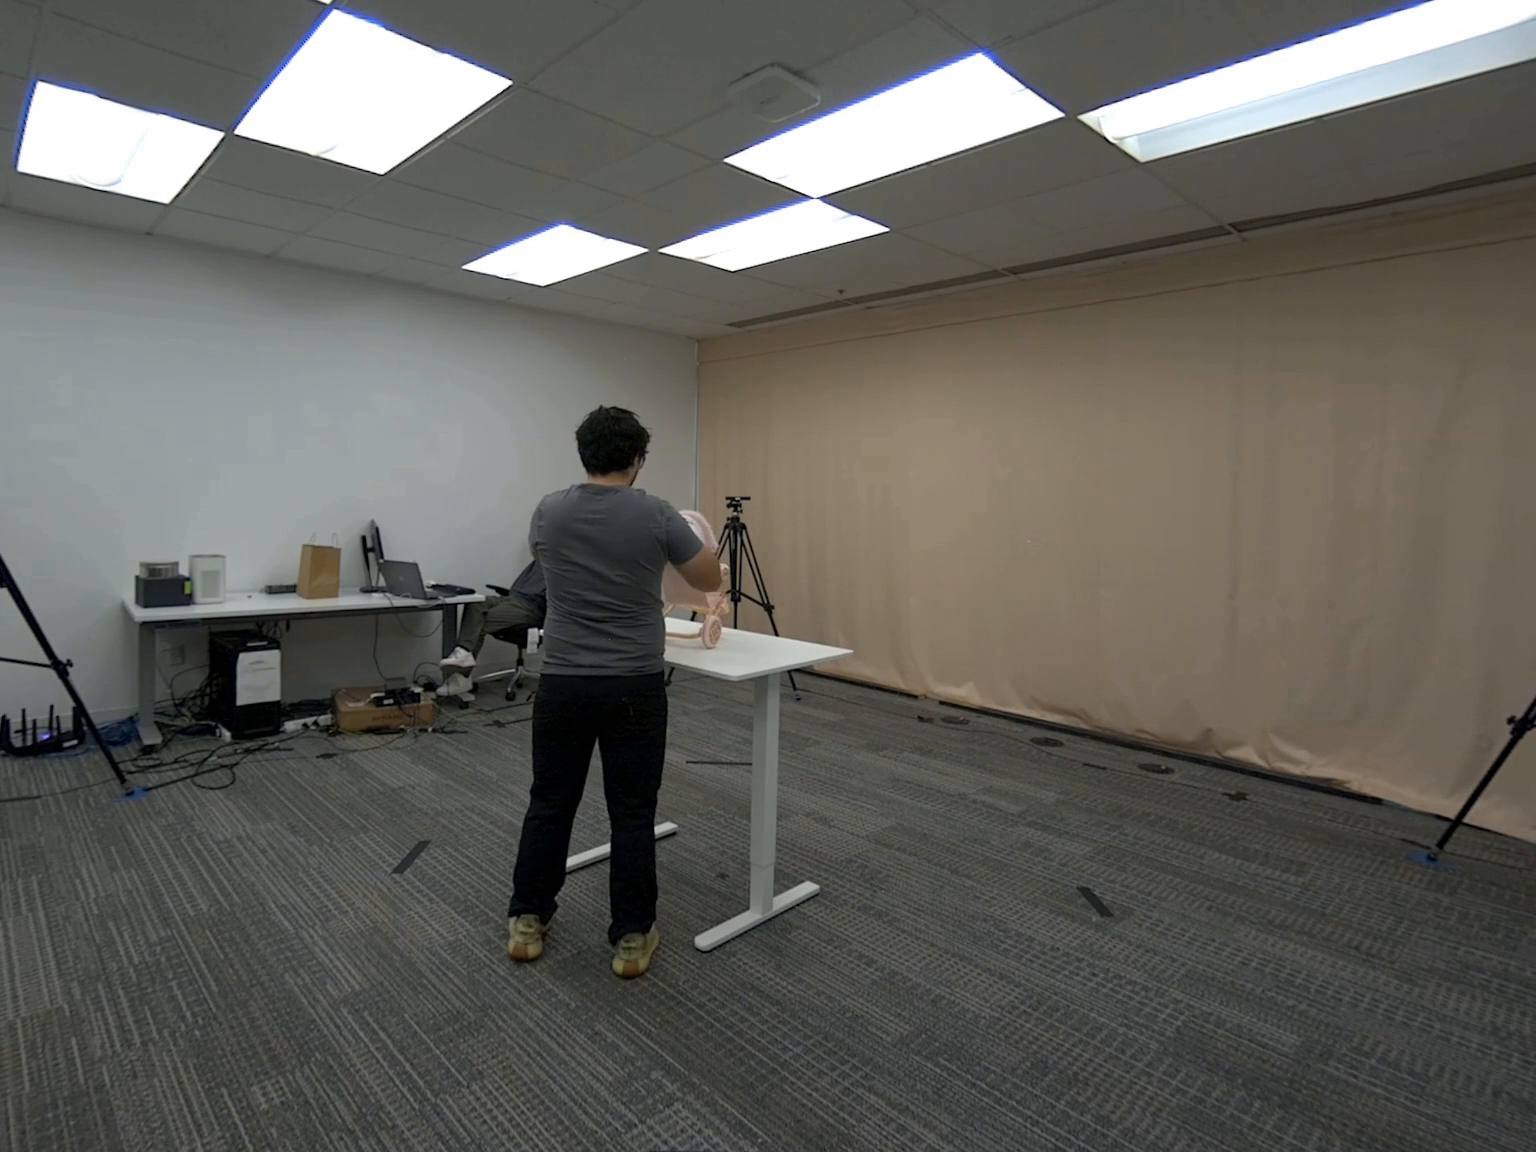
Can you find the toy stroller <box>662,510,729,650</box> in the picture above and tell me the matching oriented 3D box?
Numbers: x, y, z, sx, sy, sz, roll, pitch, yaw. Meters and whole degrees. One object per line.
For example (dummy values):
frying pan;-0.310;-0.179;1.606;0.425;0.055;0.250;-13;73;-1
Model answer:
toy stroller;-0.281;0.010;2.948;0.287;0.527;0.339;5;21;28
